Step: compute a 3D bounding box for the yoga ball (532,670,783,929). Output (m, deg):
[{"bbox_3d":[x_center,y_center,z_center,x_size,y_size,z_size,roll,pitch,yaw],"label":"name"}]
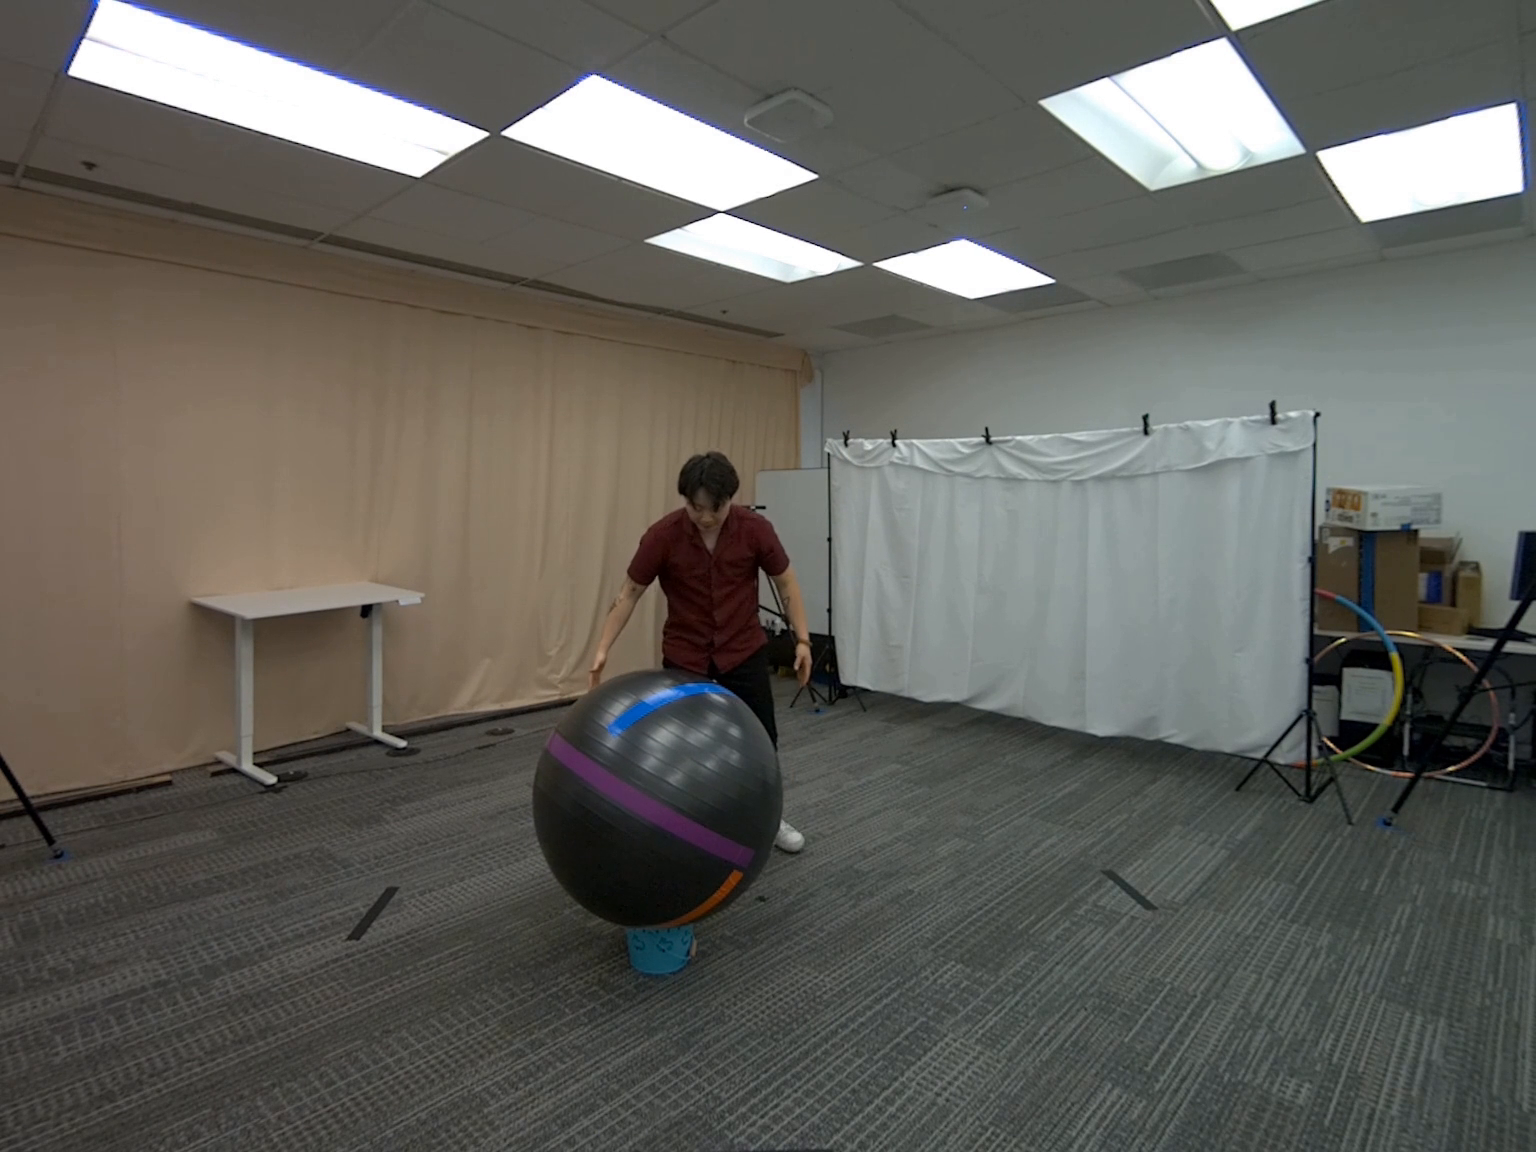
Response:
[{"bbox_3d":[-0.340,0.672,2.578,0.757,0.756,0.760,0,4,-2],"label":"yoga ball"}]
